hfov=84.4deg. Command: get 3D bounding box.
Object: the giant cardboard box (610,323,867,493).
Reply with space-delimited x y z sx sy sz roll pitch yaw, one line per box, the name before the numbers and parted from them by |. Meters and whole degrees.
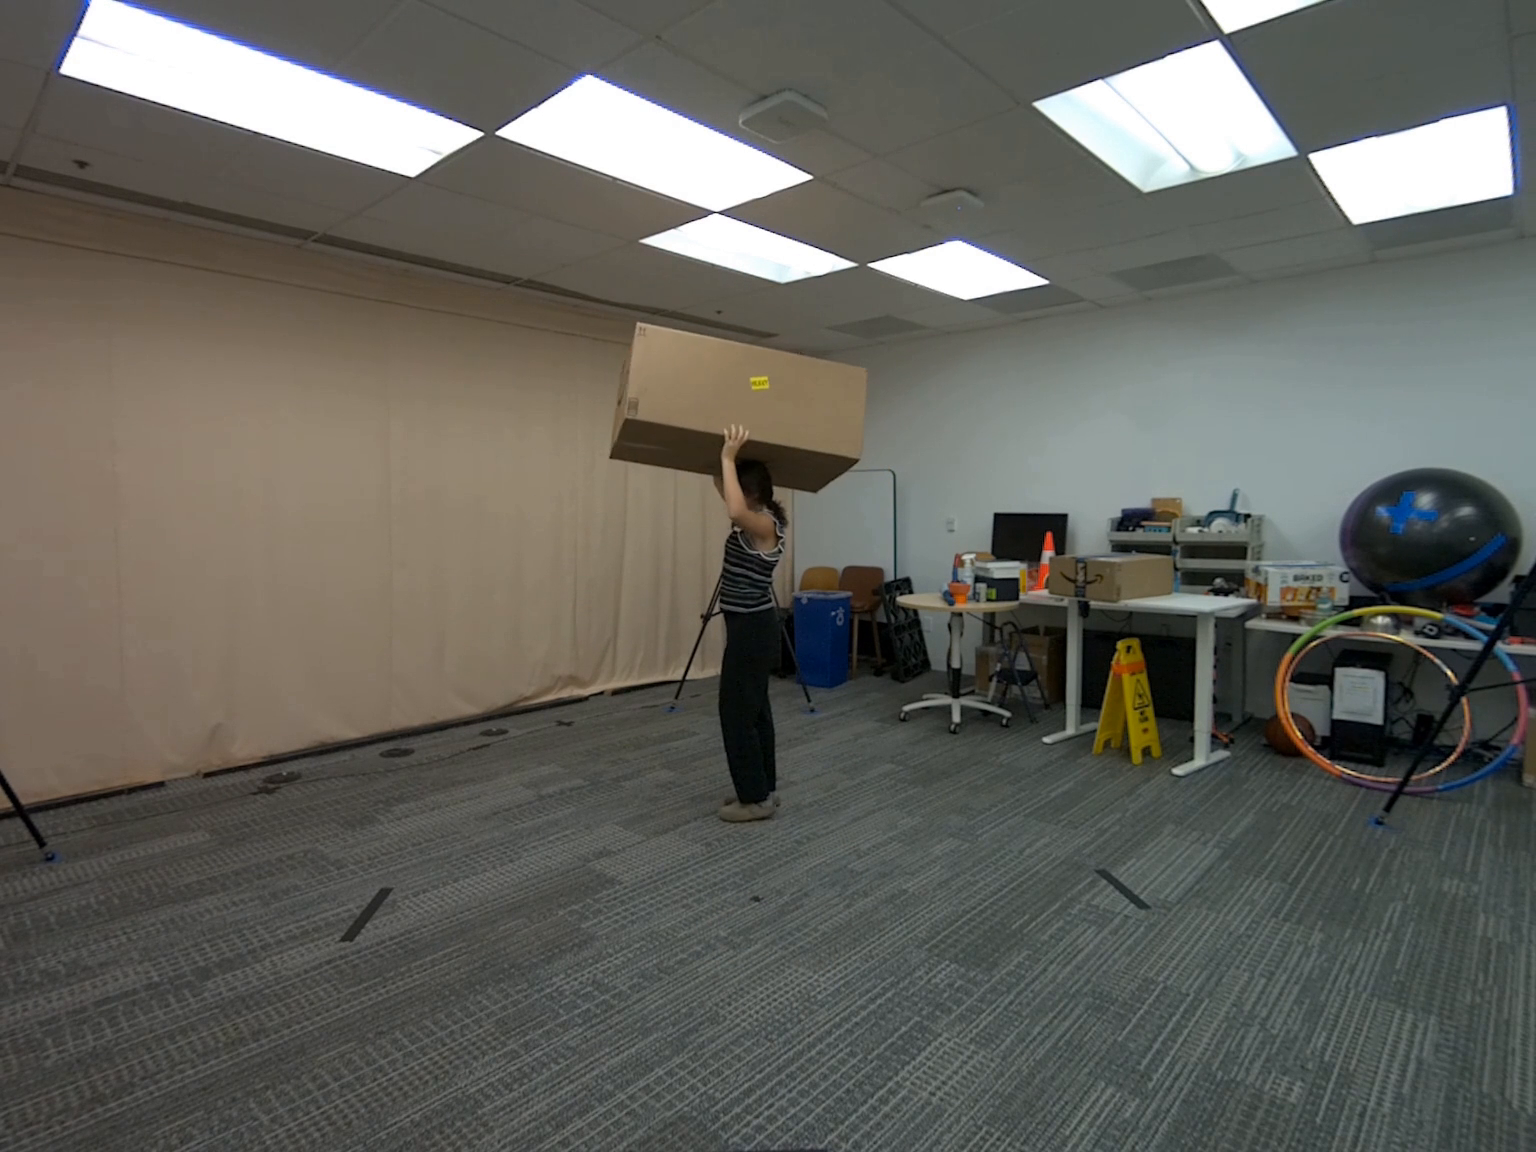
giant cardboard box | -0.151 -0.721 3.793 1.012 0.429 0.582 9 -12 -12
